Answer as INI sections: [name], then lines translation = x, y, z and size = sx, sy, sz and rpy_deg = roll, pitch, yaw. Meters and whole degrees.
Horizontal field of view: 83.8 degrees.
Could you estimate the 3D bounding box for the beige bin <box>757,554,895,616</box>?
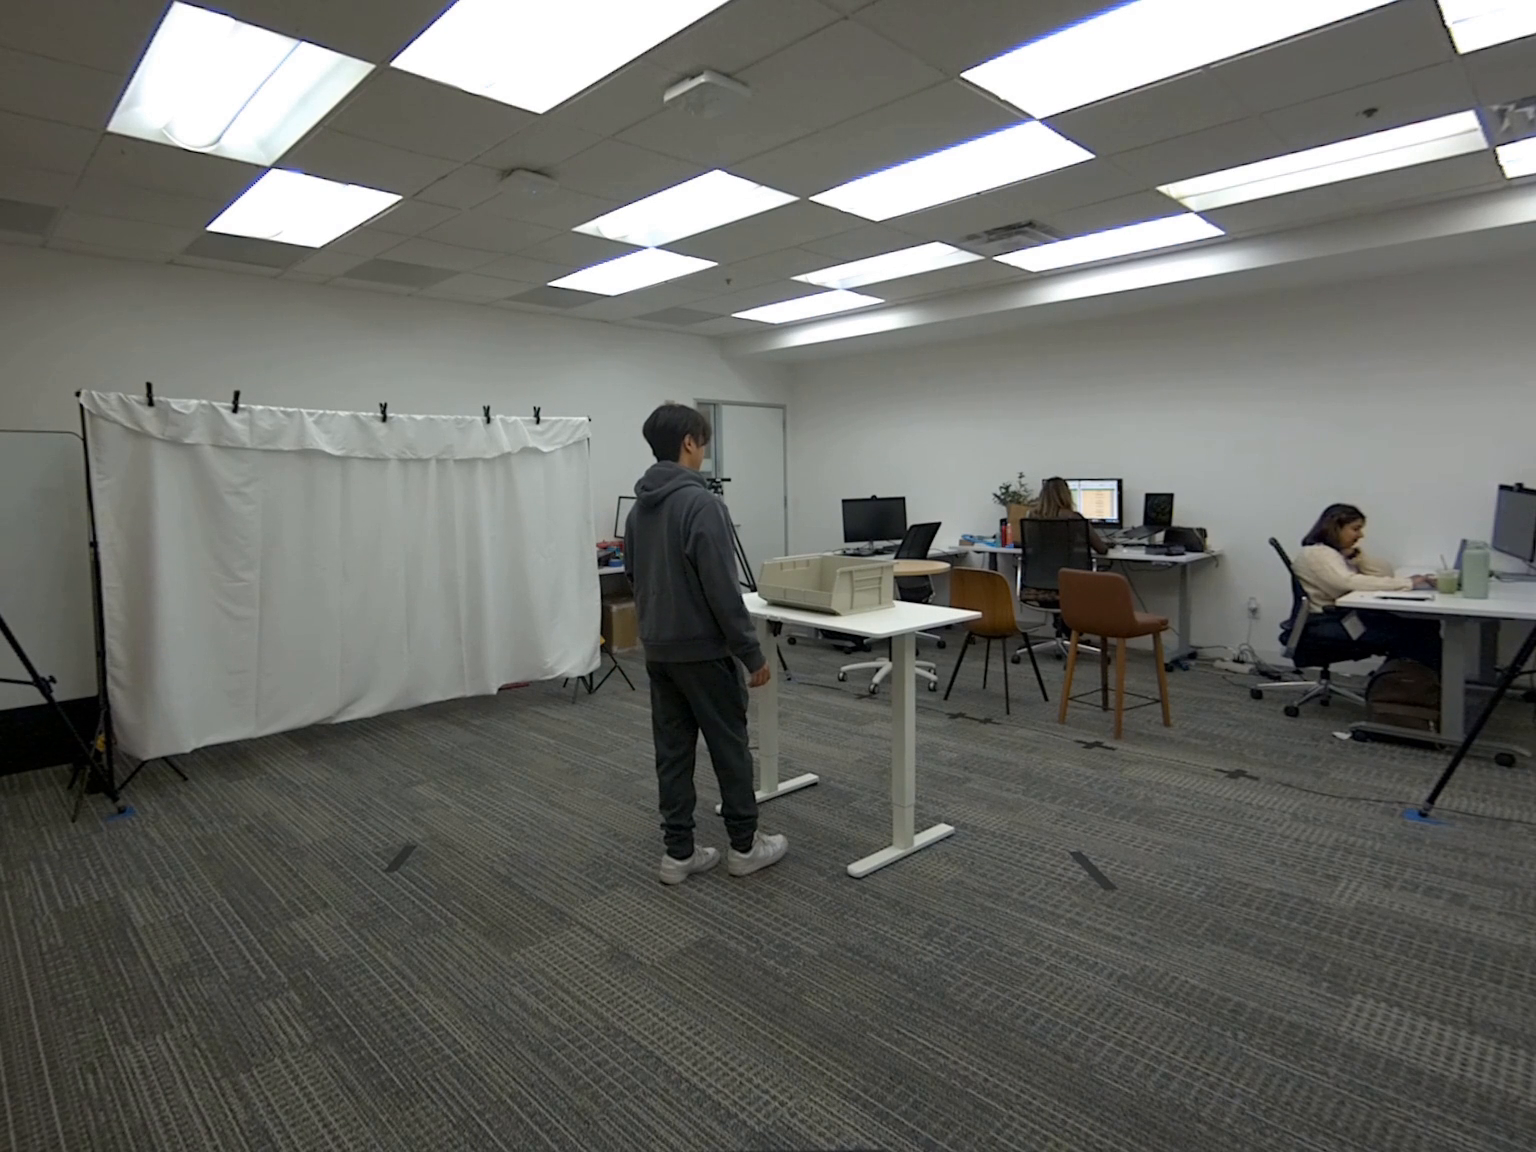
[beige bin]
translation = 0.236, 0.033, 3.397
size = 0.367, 0.188, 0.435
rpy_deg = -6, 8, -41
